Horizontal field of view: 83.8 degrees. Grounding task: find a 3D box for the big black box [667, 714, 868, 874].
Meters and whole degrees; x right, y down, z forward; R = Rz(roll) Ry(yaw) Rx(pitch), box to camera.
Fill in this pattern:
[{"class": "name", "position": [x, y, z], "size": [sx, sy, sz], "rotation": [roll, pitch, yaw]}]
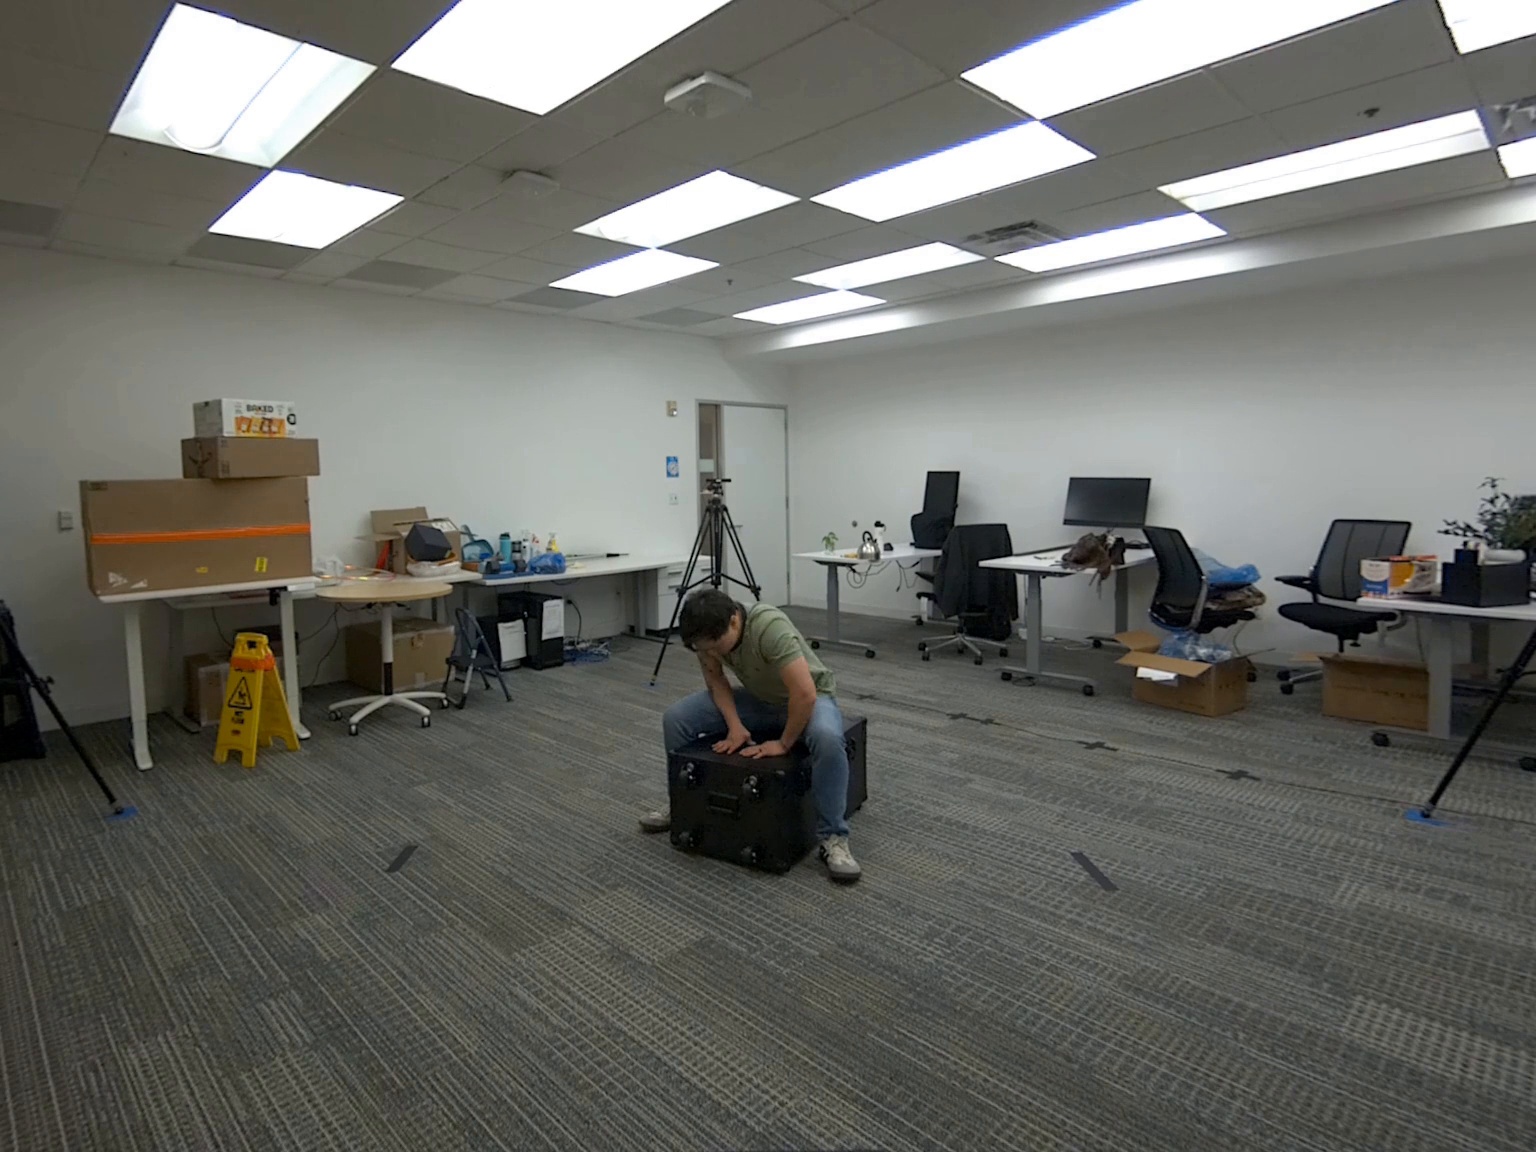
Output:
[{"class": "big black box", "position": [0.011, 0.822, 3.399], "size": [0.535, 0.395, 0.842], "rotation": [3, 6, 29]}]
